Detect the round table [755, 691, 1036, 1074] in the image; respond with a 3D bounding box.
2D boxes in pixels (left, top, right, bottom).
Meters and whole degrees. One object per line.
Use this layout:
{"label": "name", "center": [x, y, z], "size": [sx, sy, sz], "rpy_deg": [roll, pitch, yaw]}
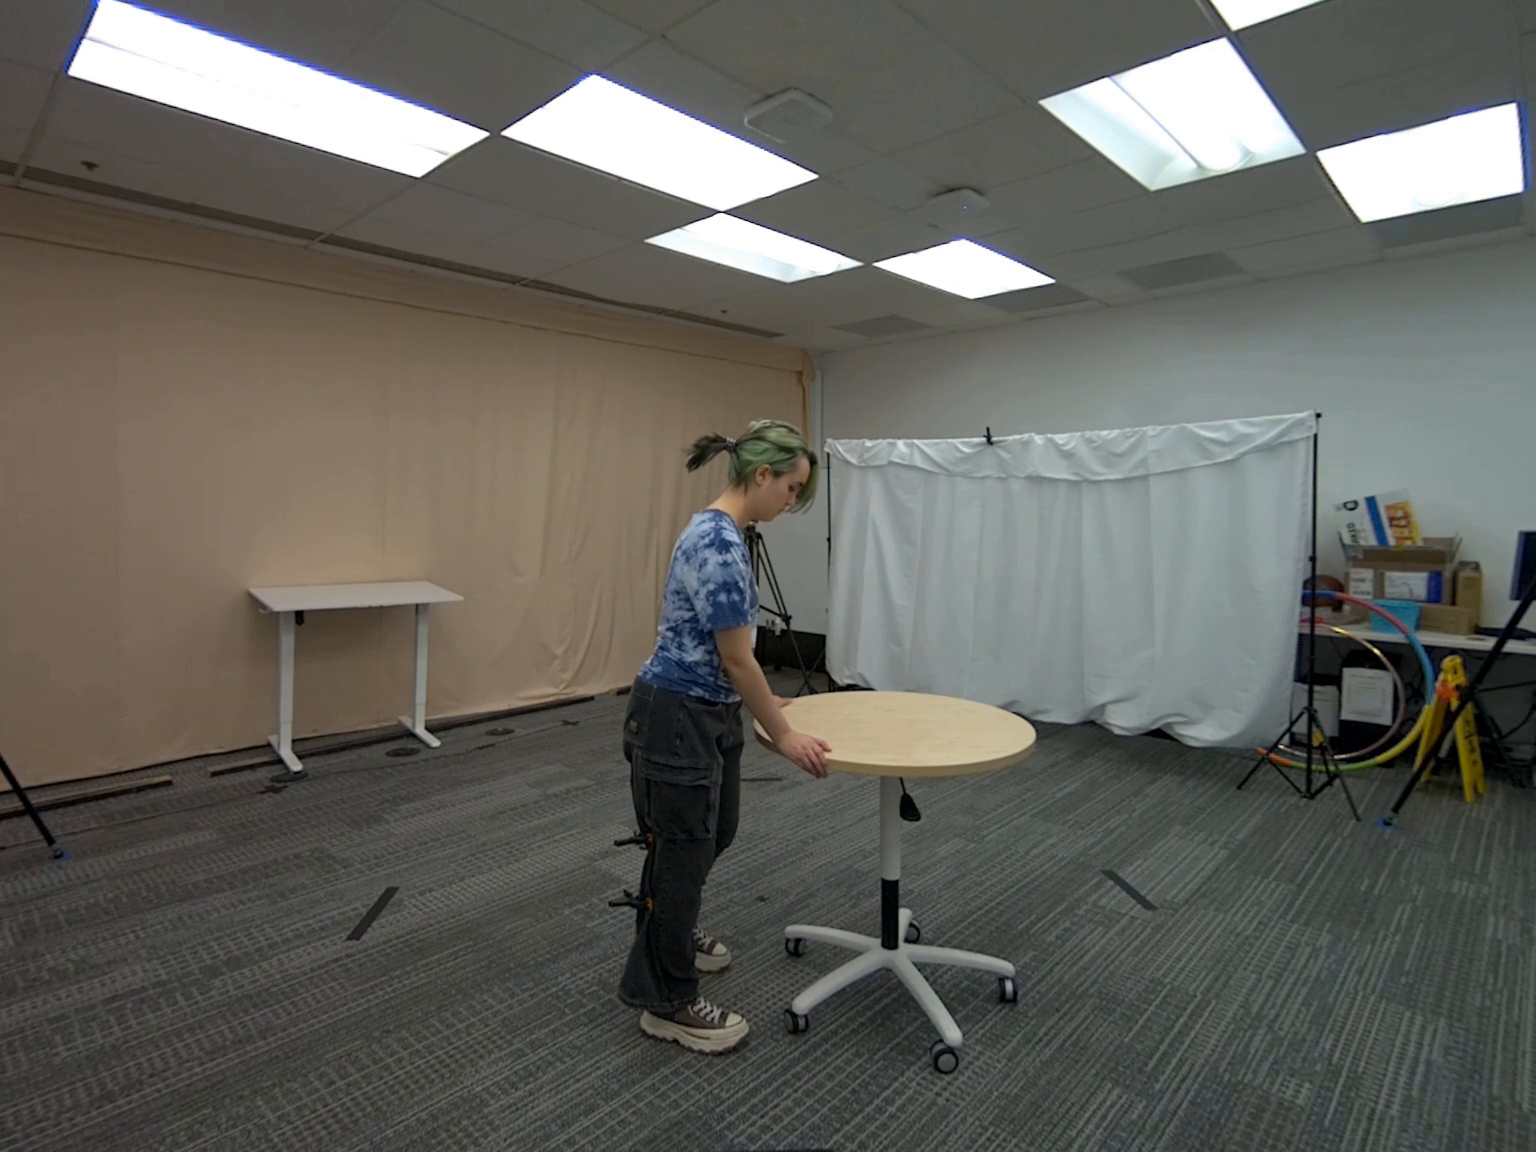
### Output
{"label": "round table", "center": [0.356, 0.805, 2.380], "size": [0.763, 0.792, 0.766], "rpy_deg": [-1, 4, -2]}
